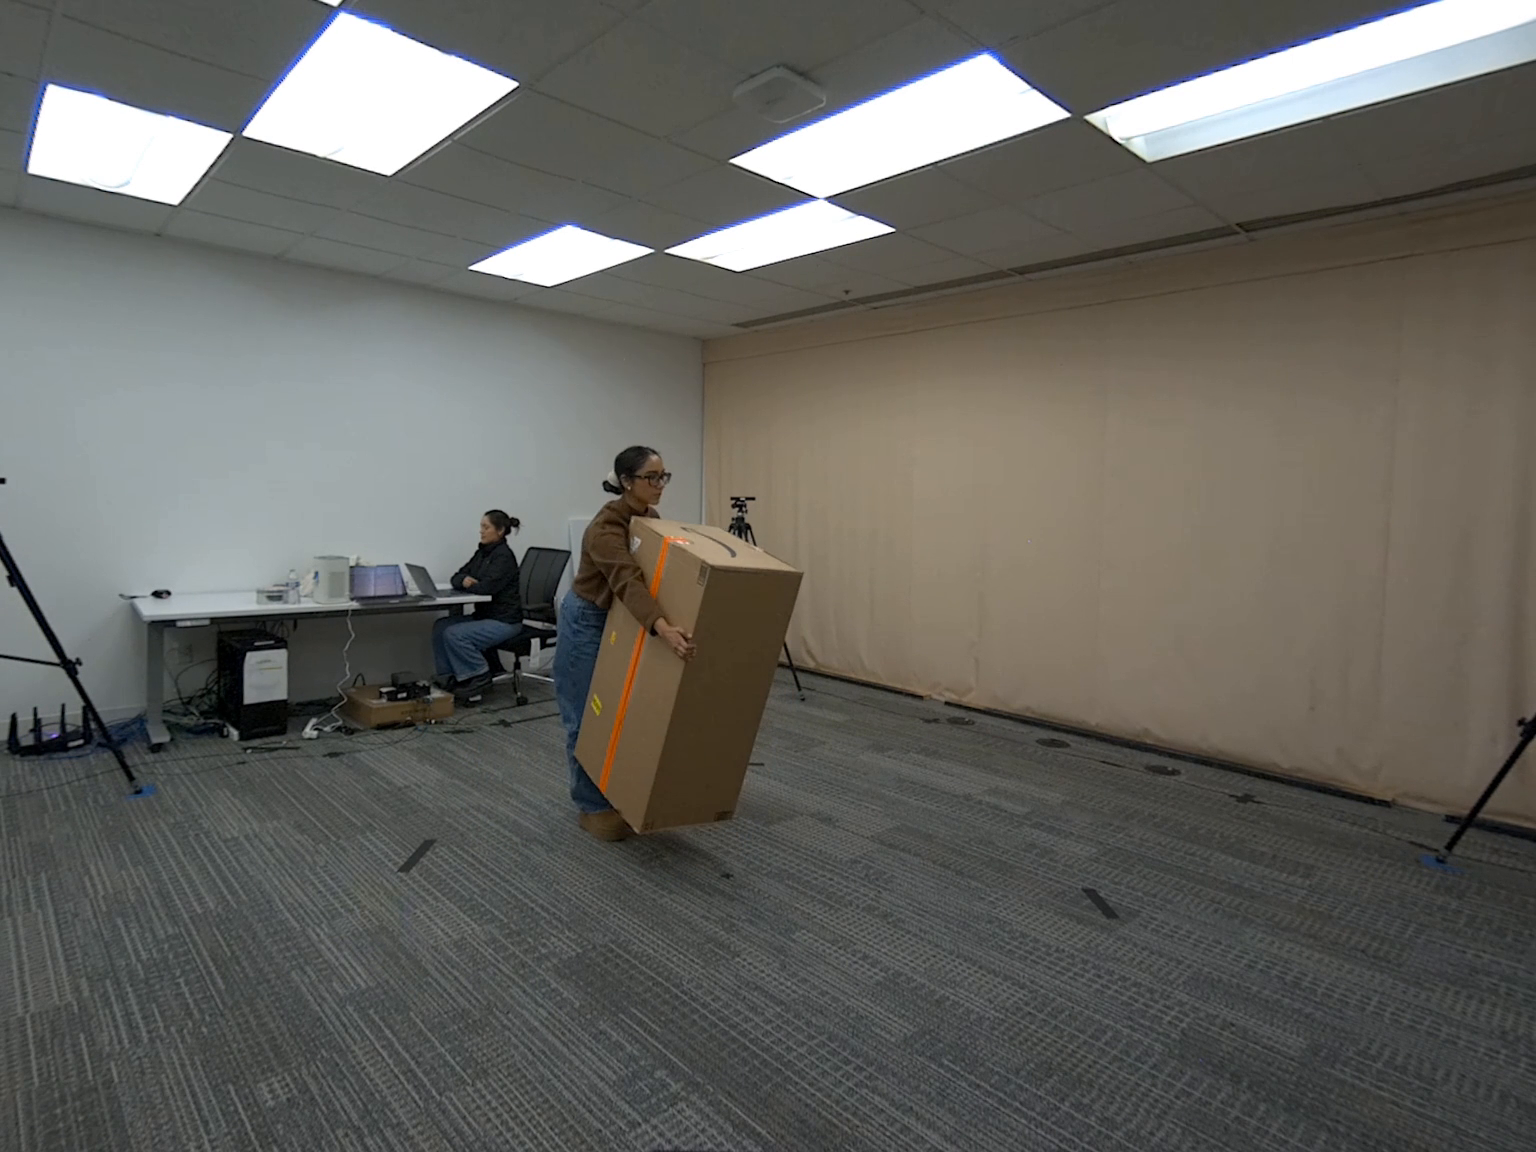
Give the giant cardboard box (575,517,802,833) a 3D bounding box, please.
[{"bbox_3d":[-0.334,0.365,3.224,0.415,1.020,0.595,6,15,-39],"label":"giant cardboard box"}]
